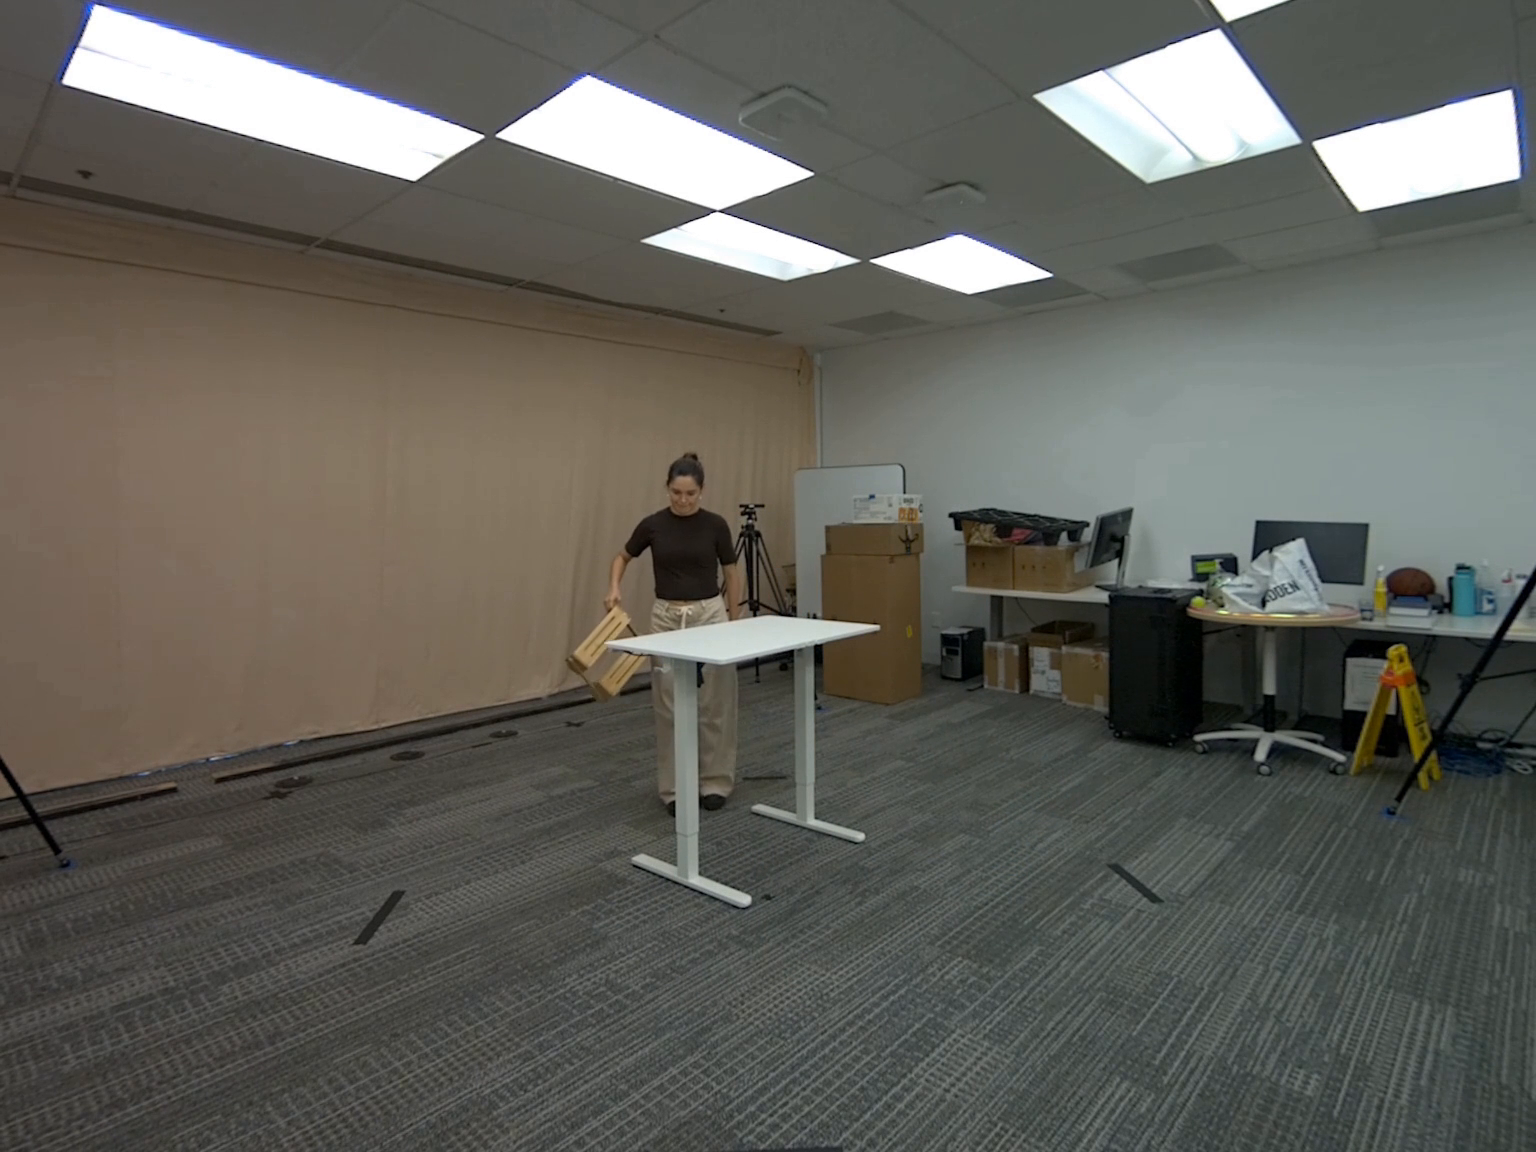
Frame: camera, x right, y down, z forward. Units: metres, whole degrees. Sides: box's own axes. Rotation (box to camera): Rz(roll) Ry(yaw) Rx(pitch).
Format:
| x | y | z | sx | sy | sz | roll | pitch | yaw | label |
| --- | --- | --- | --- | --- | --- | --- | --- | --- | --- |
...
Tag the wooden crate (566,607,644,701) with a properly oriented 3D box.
| x | y | z | sx | sy | sz | roll | pitch | yaw | label |
| --- | --- | --- | --- | --- | --- | --- | --- | --- | --- |
| -0.719 | 0.347 | 3.801 | 0.322 | 0.271 | 0.306 | -50 | 8 | -27 | wooden crate |
